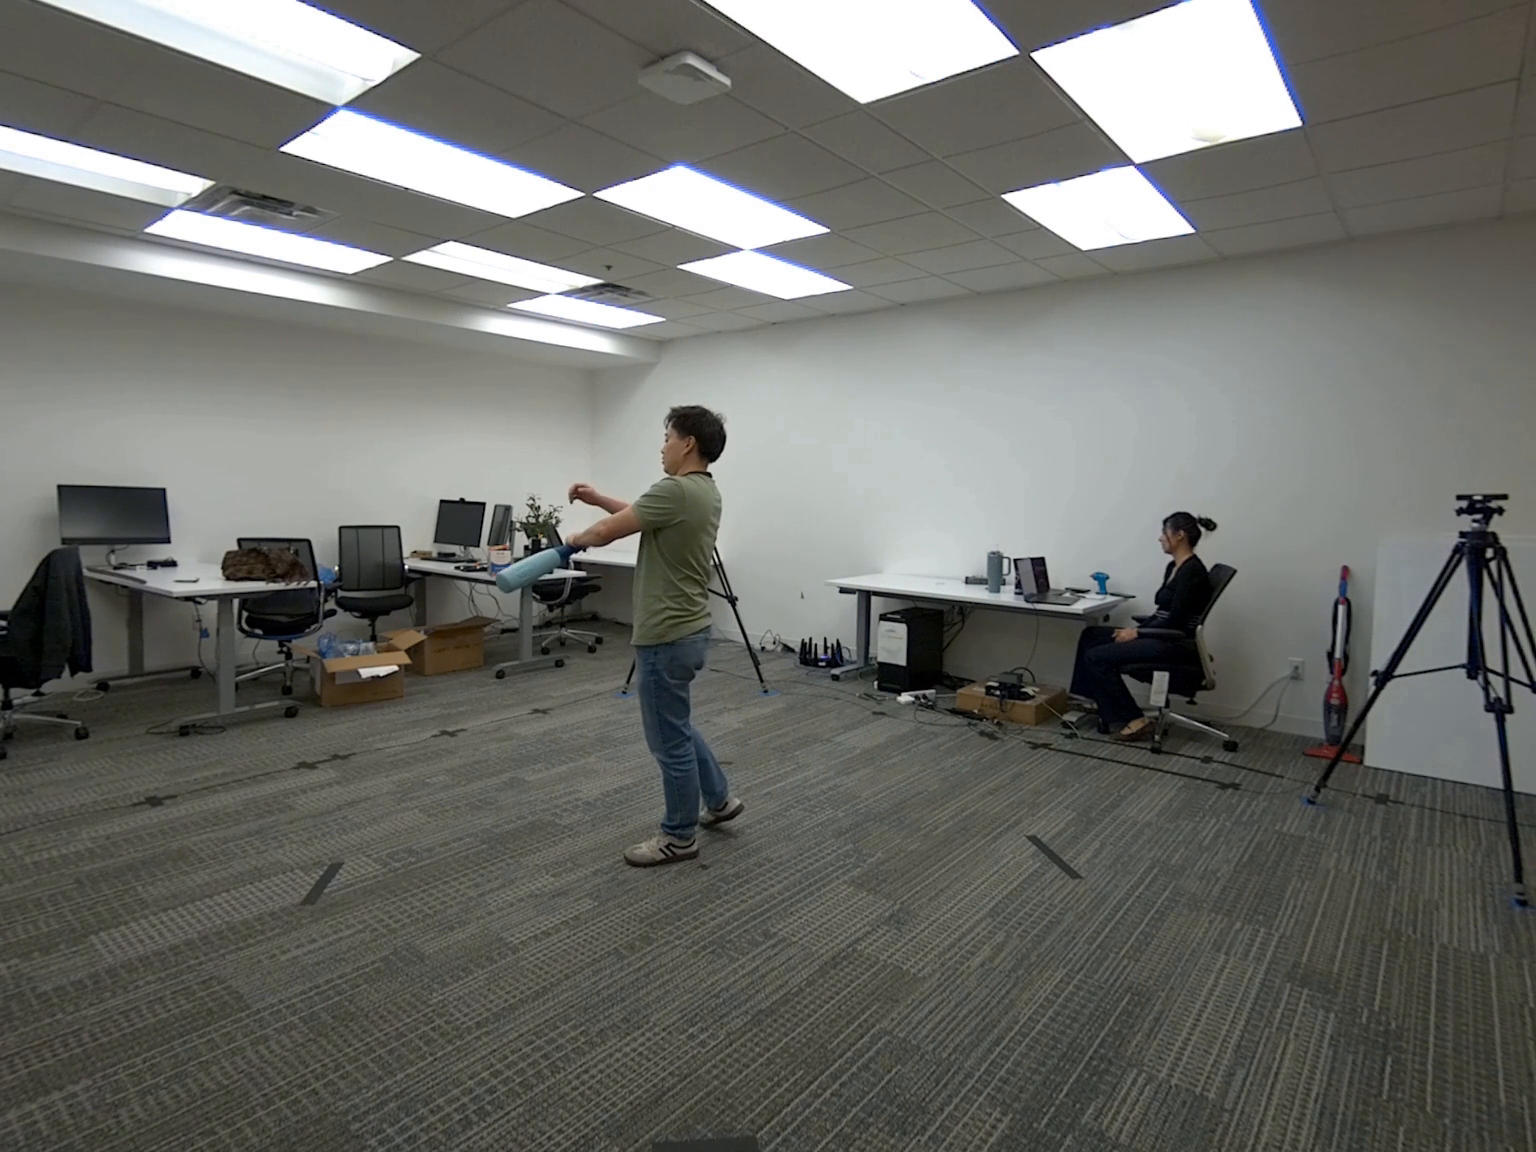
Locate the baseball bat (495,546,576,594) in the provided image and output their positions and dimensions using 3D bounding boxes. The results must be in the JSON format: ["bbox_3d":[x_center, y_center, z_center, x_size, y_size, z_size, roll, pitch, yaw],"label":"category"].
[{"bbox_3d":[-0.801,-0.078,3.205,0.092,0.087,0.536,4,26,40],"label":"baseball bat"}]
